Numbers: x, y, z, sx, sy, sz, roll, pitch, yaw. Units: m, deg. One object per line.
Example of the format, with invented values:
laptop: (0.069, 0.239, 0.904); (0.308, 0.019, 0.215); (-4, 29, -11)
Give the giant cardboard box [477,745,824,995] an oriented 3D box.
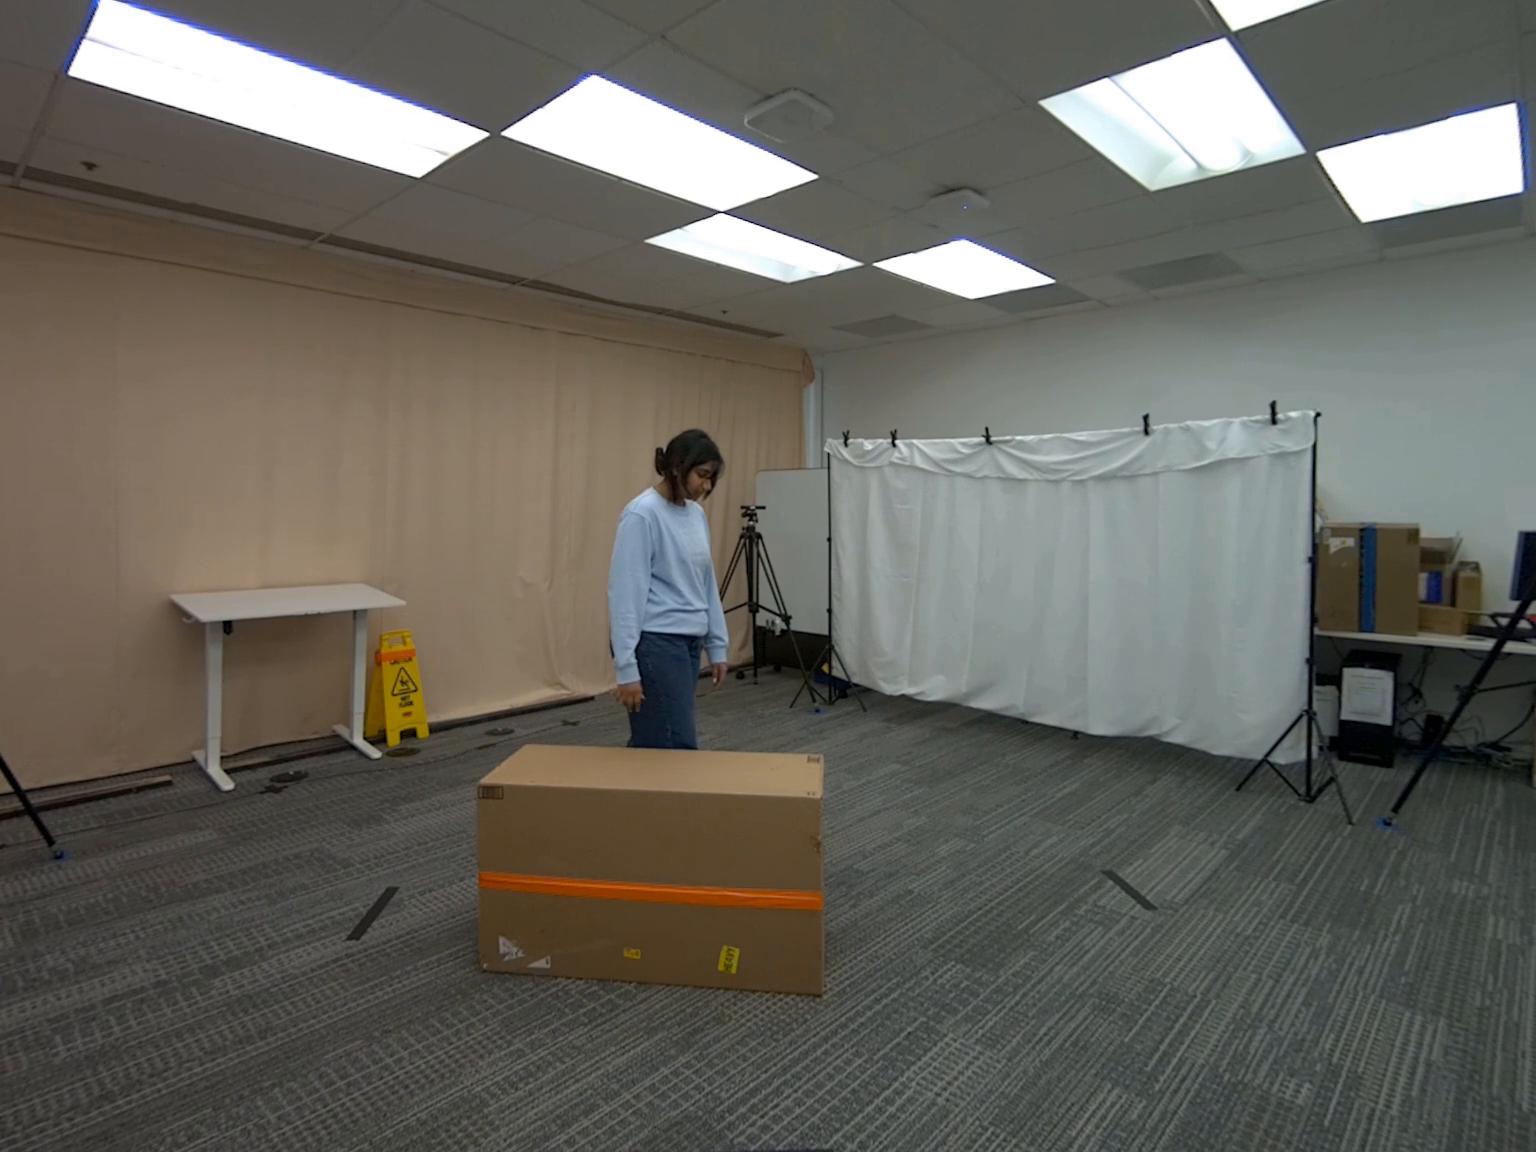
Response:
giant cardboard box: (-0.338, 0.884, 2.640); (1.035, 0.576, 0.424); (1, 4, 7)
